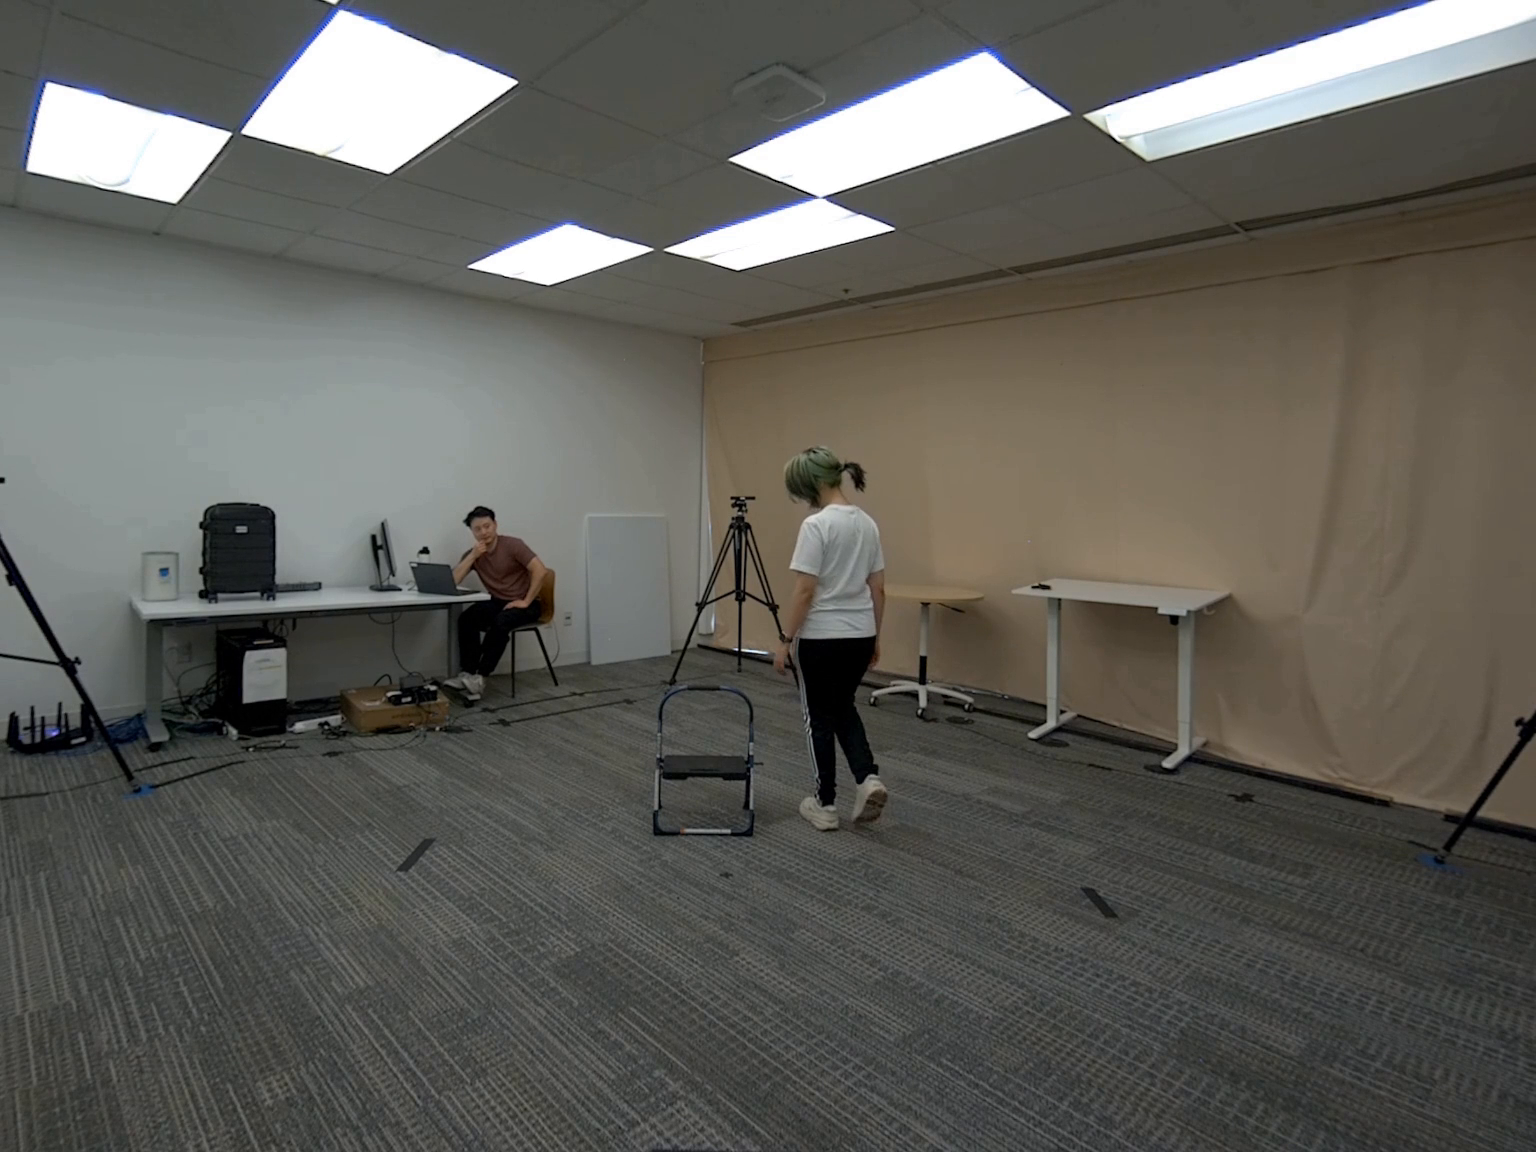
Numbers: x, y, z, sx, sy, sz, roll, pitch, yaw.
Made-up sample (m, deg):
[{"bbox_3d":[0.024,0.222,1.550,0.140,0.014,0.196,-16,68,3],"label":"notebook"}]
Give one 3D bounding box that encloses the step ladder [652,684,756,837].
[{"bbox_3d":[-0.282,0.756,3.615,0.429,0.605,0.351,1,3,-5],"label":"step ladder"}]
